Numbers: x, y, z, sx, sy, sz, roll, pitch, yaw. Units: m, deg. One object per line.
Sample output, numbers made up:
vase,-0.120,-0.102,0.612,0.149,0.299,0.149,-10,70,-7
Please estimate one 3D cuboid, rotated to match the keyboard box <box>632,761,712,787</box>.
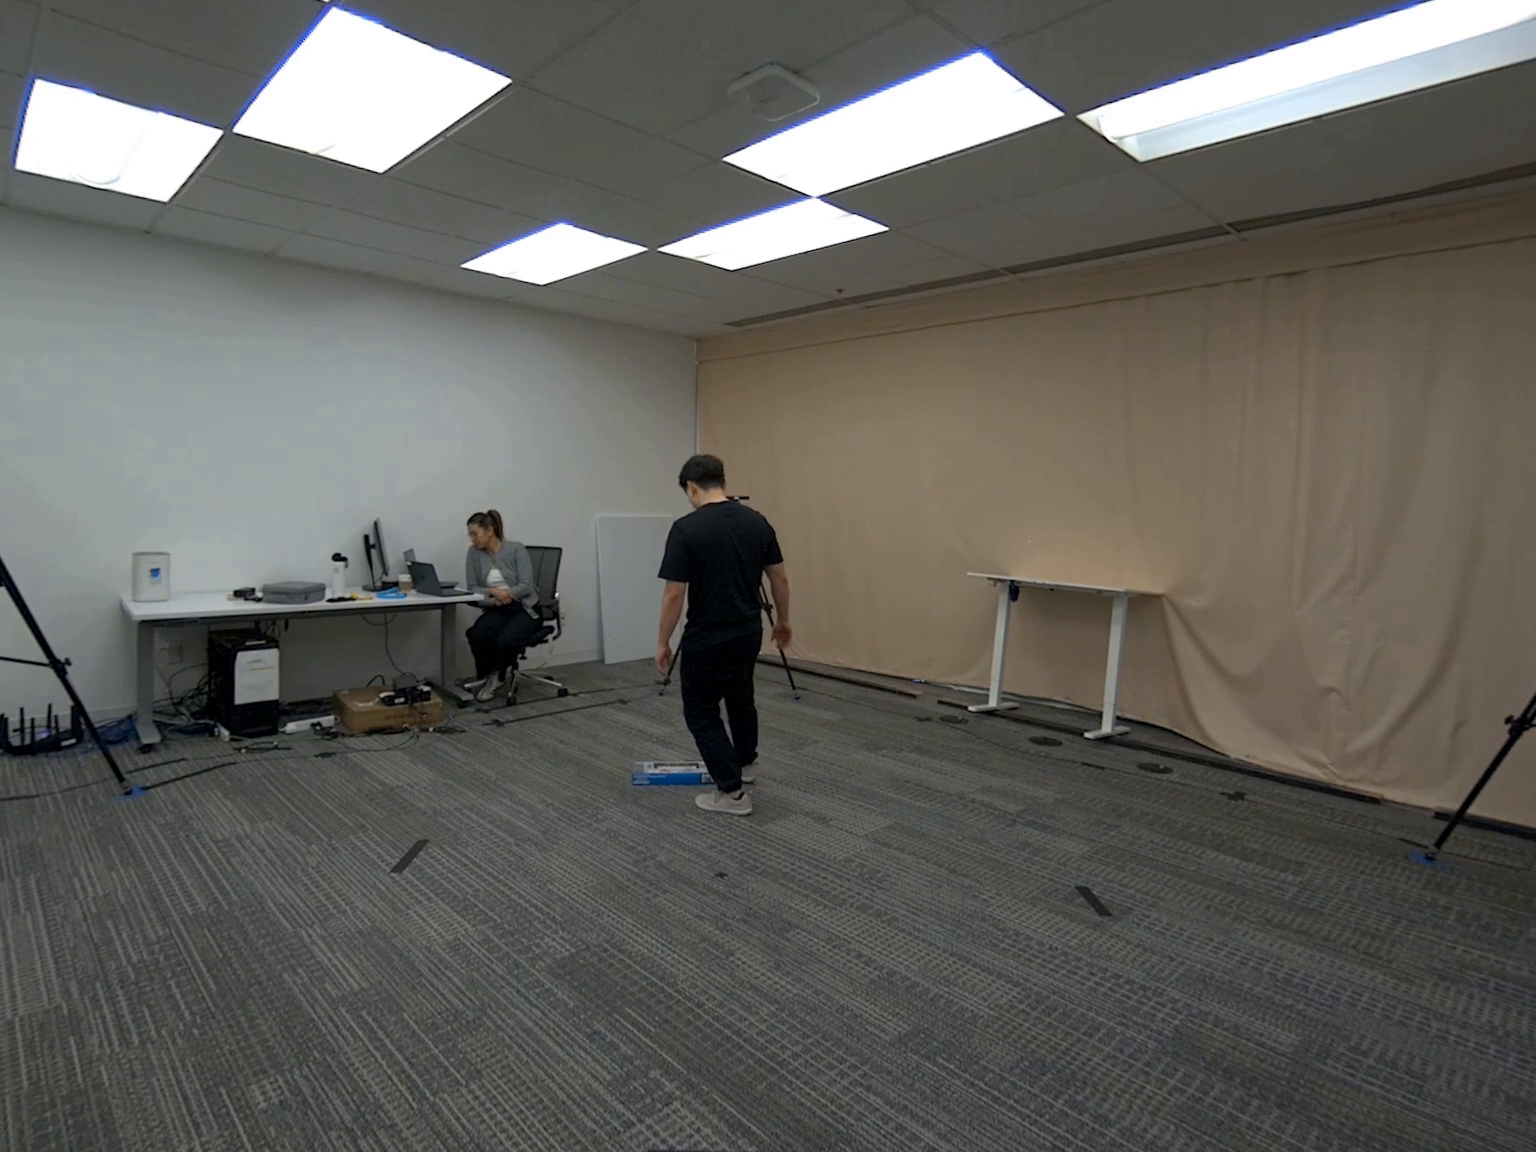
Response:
keyboard box,-0.459,0.972,4.162,0.434,0.059,0.177,1,5,-7
